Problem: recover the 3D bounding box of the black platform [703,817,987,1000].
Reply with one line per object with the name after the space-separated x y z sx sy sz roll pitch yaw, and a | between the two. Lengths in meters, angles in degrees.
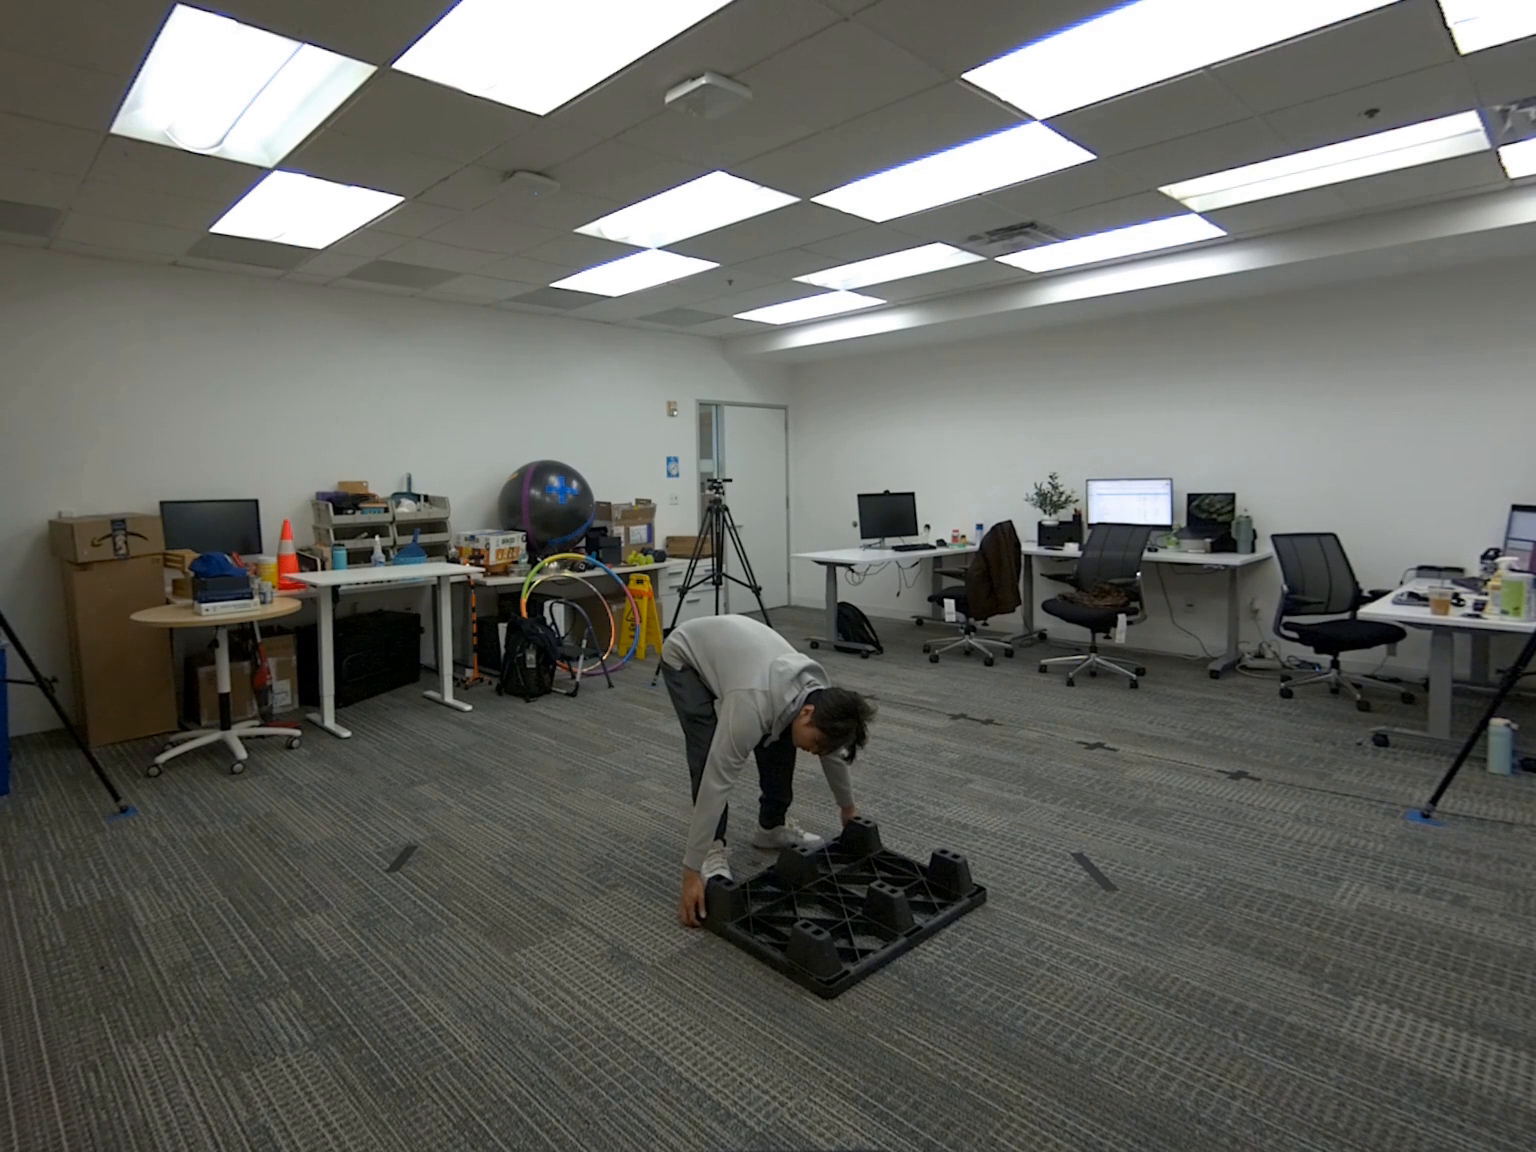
0.242 1.010 2.763 0.784 0.142 0.625 -7 10 -43 | black platform
